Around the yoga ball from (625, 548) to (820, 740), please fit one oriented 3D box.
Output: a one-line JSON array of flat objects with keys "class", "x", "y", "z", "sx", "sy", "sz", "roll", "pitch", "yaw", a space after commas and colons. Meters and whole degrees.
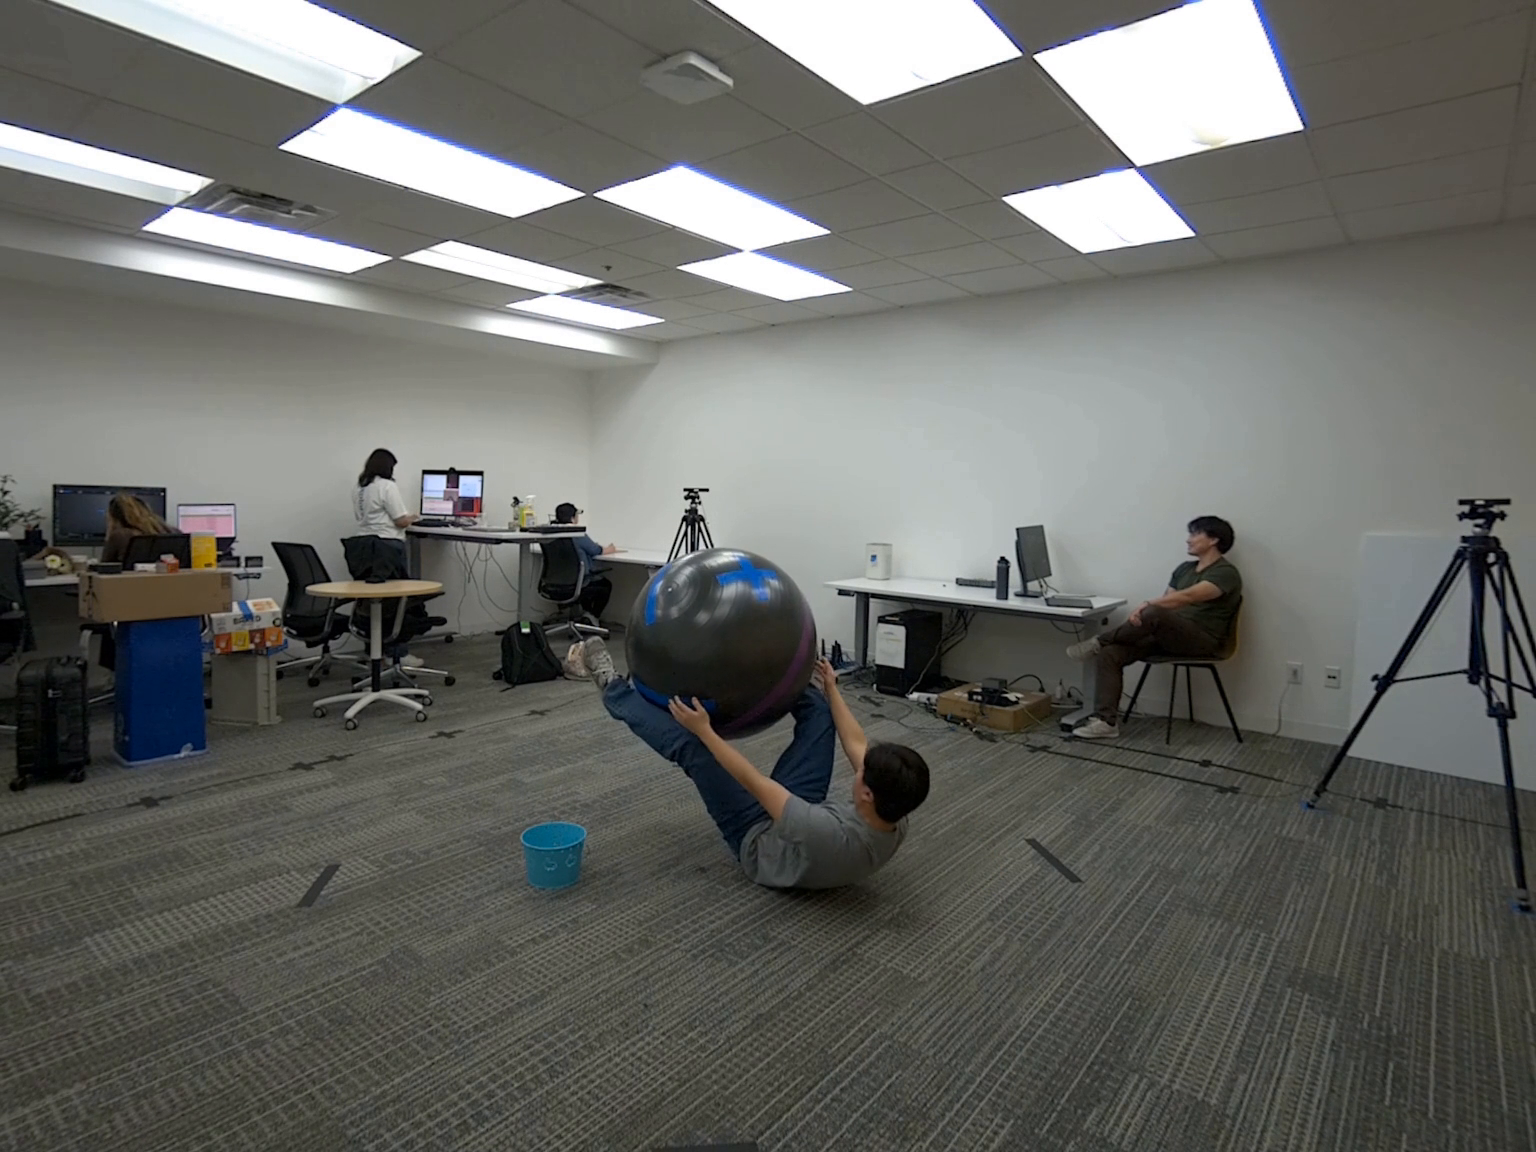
[{"class": "yoga ball", "x": -0.197, "y": 0.264, "z": 3.372, "sx": 0.757, "sy": 0.756, "sz": 0.761, "roll": 1, "pitch": 4, "yaw": -2}]
